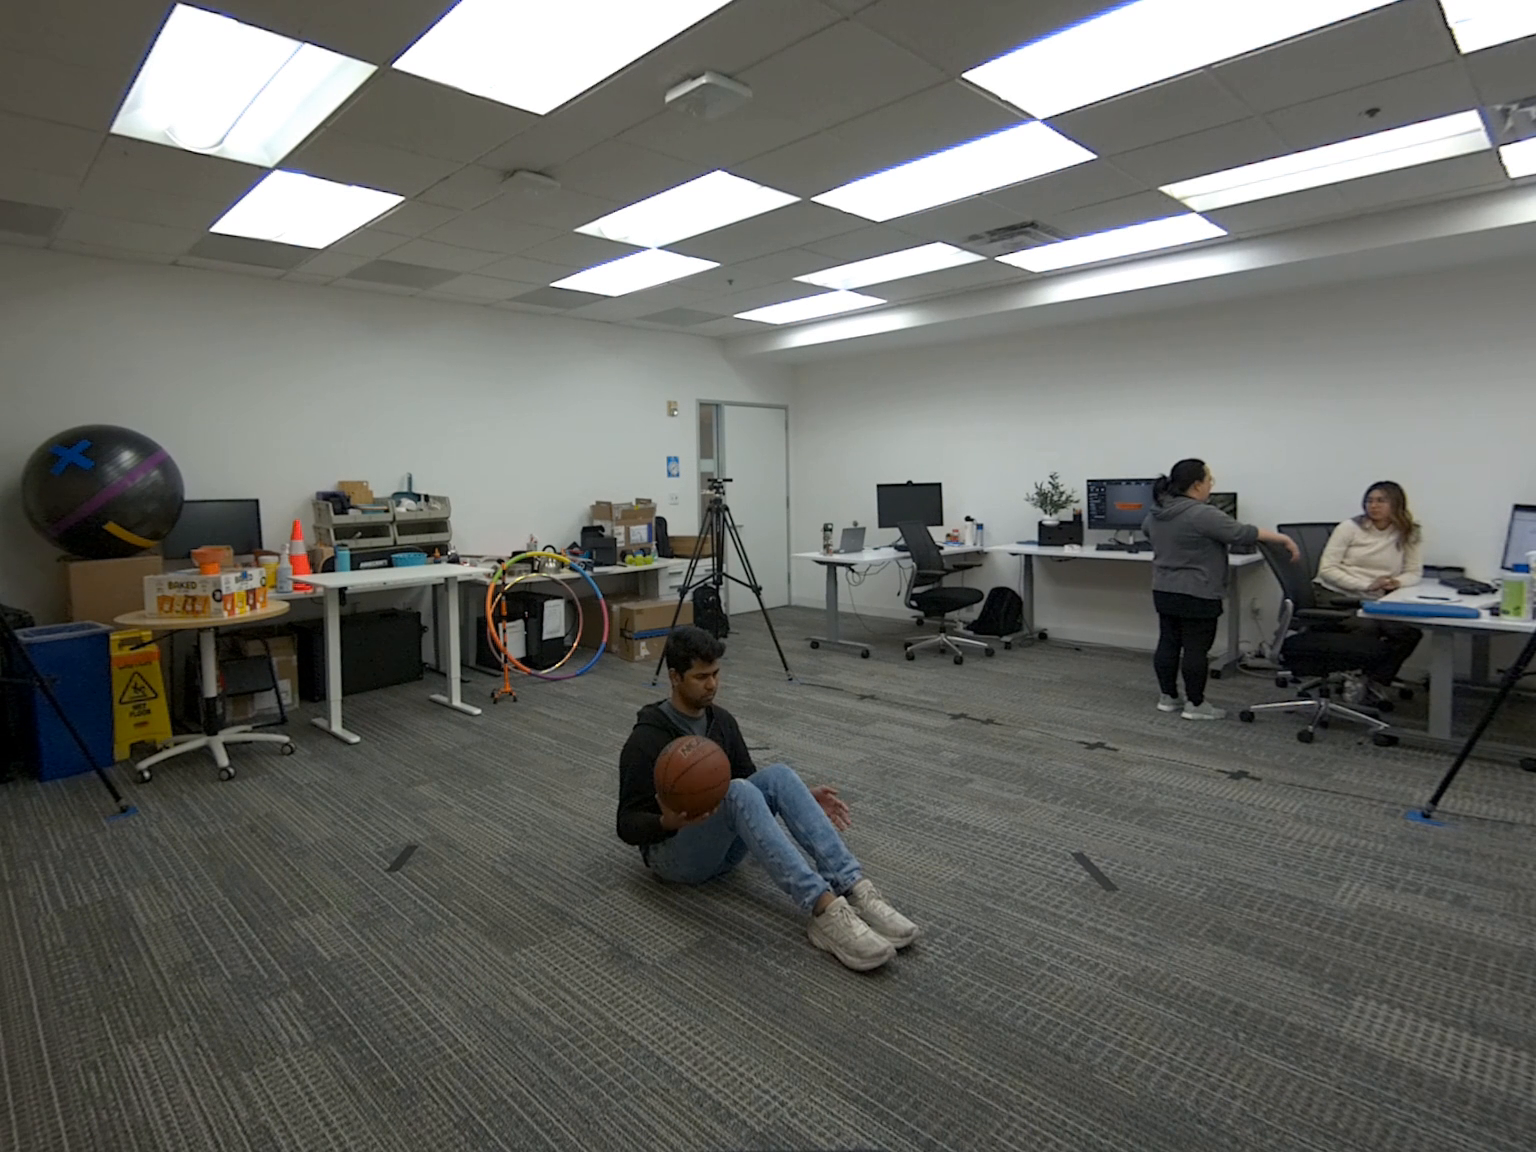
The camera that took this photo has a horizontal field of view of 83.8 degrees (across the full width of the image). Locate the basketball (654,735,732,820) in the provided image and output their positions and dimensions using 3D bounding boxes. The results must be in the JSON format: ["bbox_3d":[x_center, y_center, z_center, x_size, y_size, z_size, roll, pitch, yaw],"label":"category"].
[{"bbox_3d":[-0.224,0.622,2.649,0.236,0.235,0.237,-1,5,-2],"label":"basketball"}]
